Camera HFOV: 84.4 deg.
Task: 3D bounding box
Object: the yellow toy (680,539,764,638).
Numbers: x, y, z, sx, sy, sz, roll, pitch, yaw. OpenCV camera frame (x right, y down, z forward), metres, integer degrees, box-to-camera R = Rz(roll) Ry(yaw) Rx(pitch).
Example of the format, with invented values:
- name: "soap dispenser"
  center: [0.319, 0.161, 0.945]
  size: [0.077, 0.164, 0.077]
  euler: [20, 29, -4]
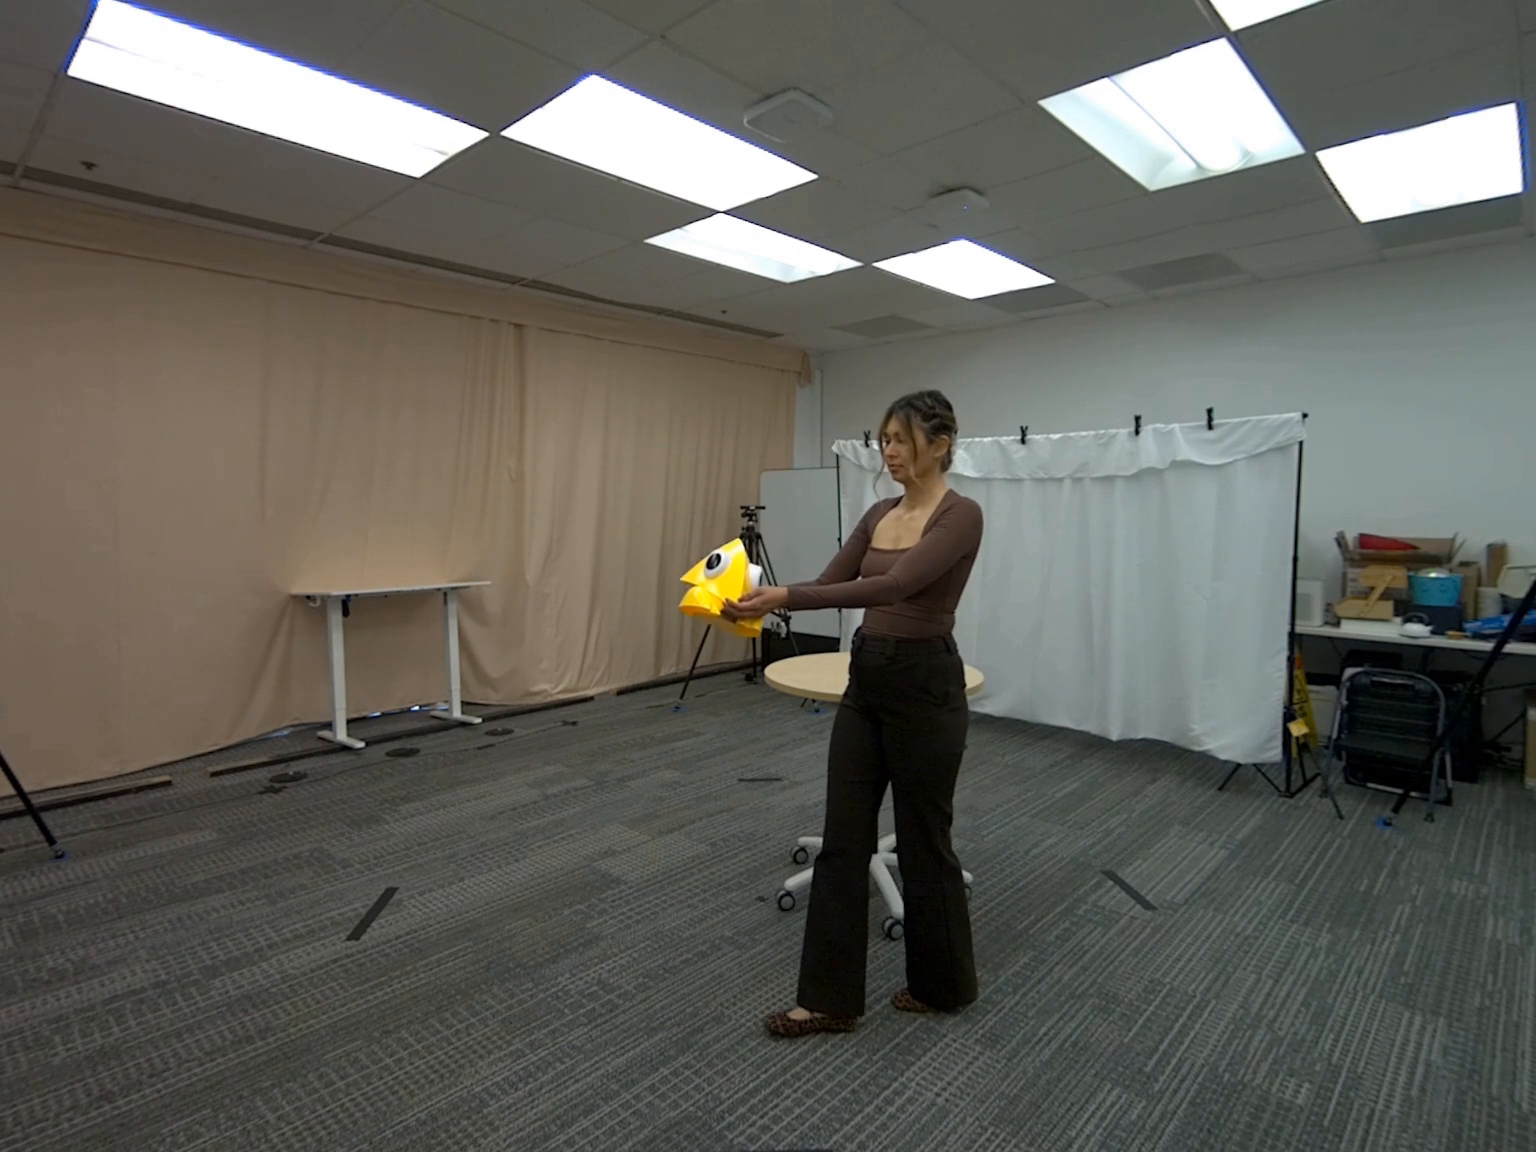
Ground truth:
- name: "yellow toy"
  center: [-0.083, 0.006, 2.045]
  size: [0.200, 0.231, 0.197]
  euler: [22, -14, -19]
